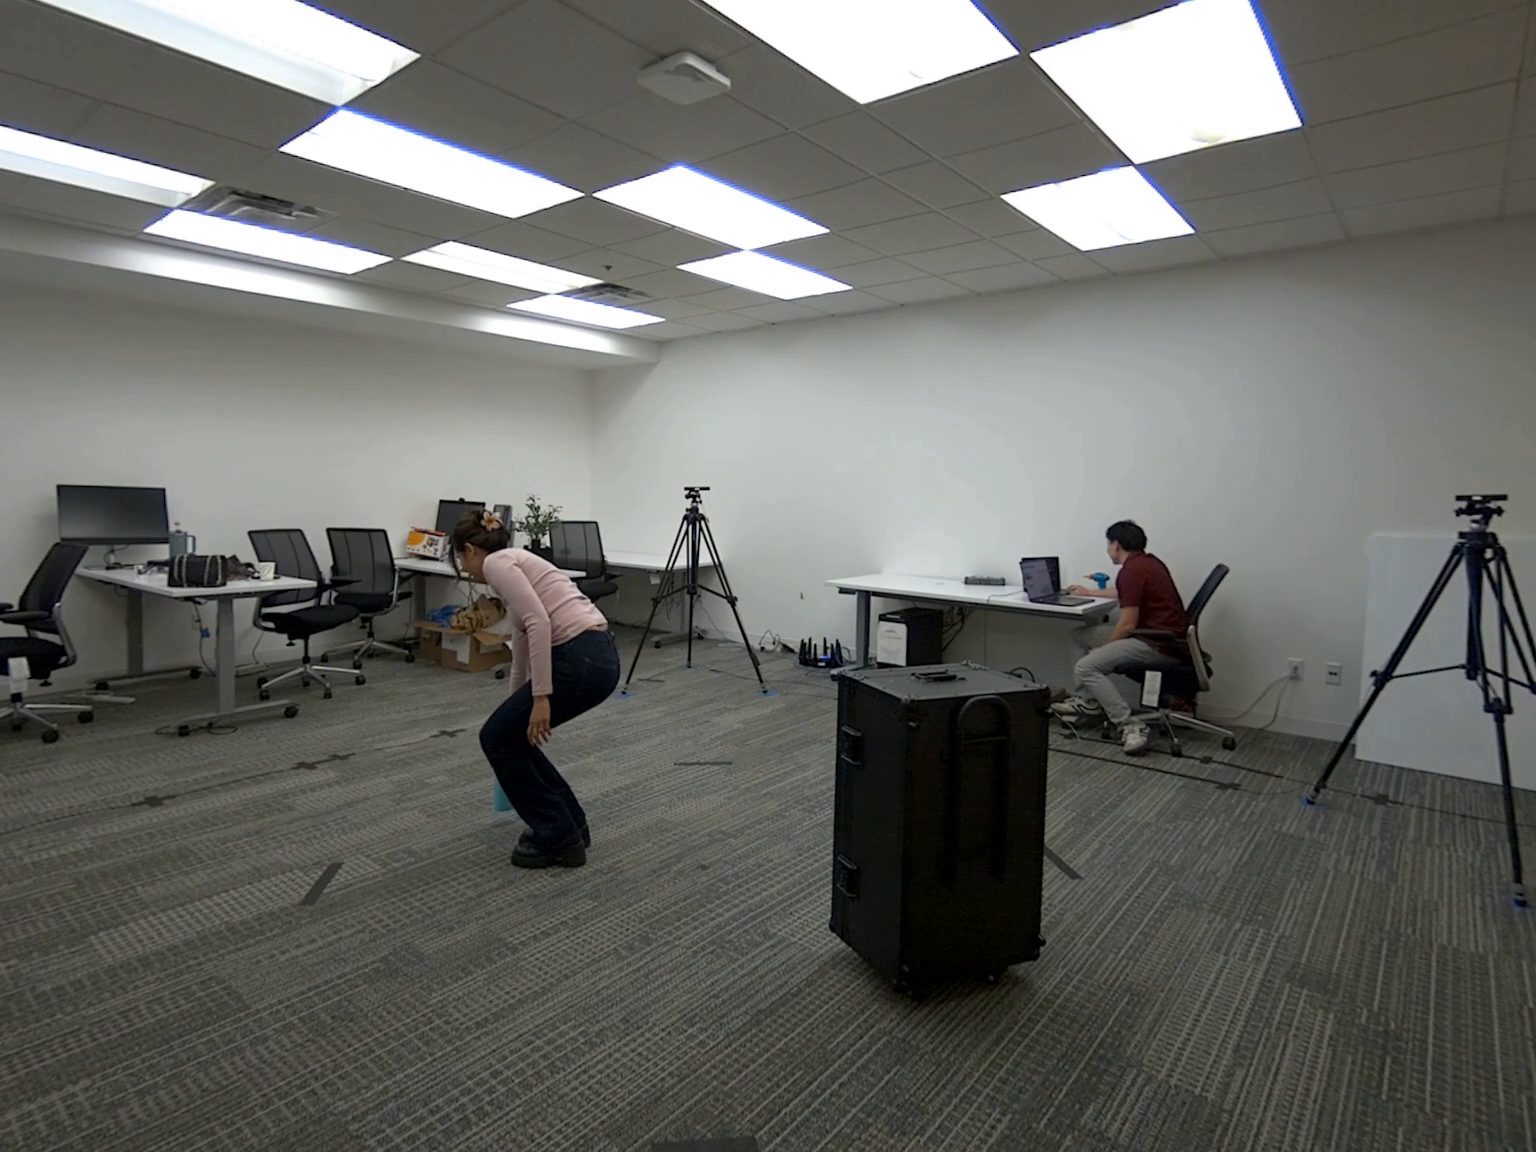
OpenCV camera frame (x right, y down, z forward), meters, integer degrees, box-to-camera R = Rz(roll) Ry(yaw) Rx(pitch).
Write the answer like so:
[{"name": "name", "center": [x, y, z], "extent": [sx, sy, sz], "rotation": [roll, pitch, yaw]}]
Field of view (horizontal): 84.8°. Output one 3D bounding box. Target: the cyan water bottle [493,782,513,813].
[{"name": "cyan water bottle", "center": [-1.092, 0.807, 3.486], "extent": [0.092, 0.283, 0.092], "rotation": [1, 2, -2]}]
